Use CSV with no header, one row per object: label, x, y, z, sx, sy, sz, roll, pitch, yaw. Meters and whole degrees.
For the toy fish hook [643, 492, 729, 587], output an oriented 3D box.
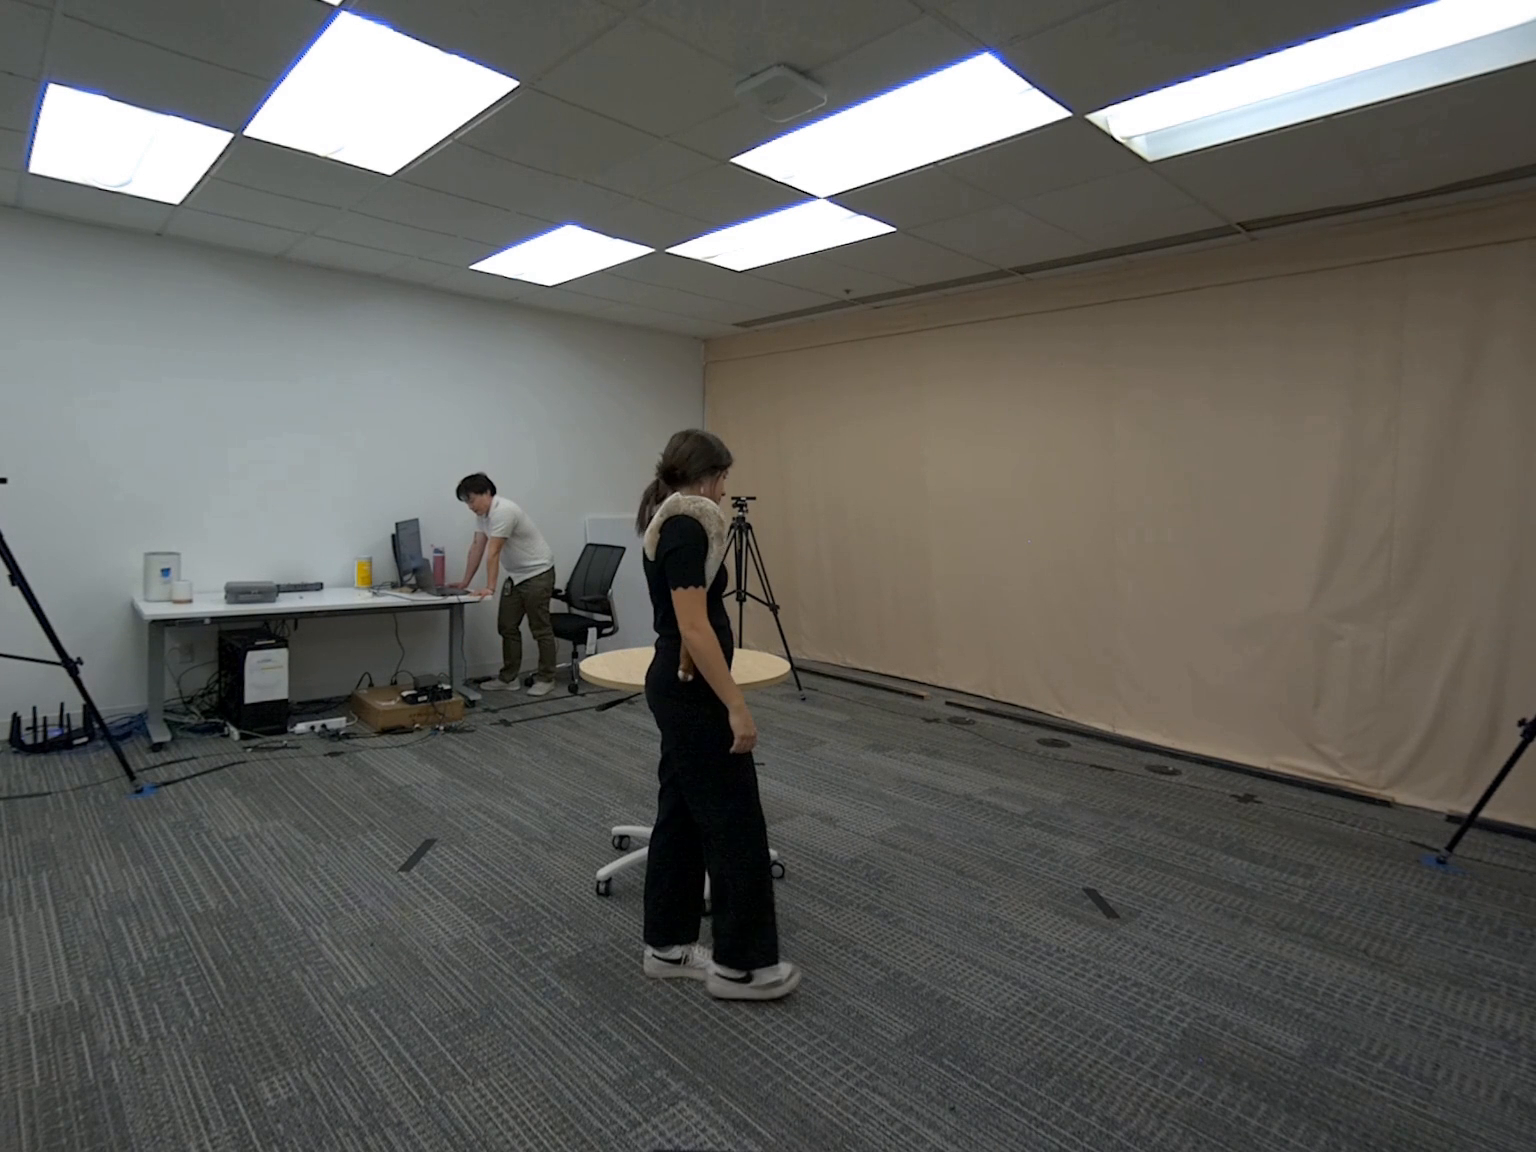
toy fish hook,-0.247,0.029,2.283,0.223,0.509,0.048,5,-7,-10
